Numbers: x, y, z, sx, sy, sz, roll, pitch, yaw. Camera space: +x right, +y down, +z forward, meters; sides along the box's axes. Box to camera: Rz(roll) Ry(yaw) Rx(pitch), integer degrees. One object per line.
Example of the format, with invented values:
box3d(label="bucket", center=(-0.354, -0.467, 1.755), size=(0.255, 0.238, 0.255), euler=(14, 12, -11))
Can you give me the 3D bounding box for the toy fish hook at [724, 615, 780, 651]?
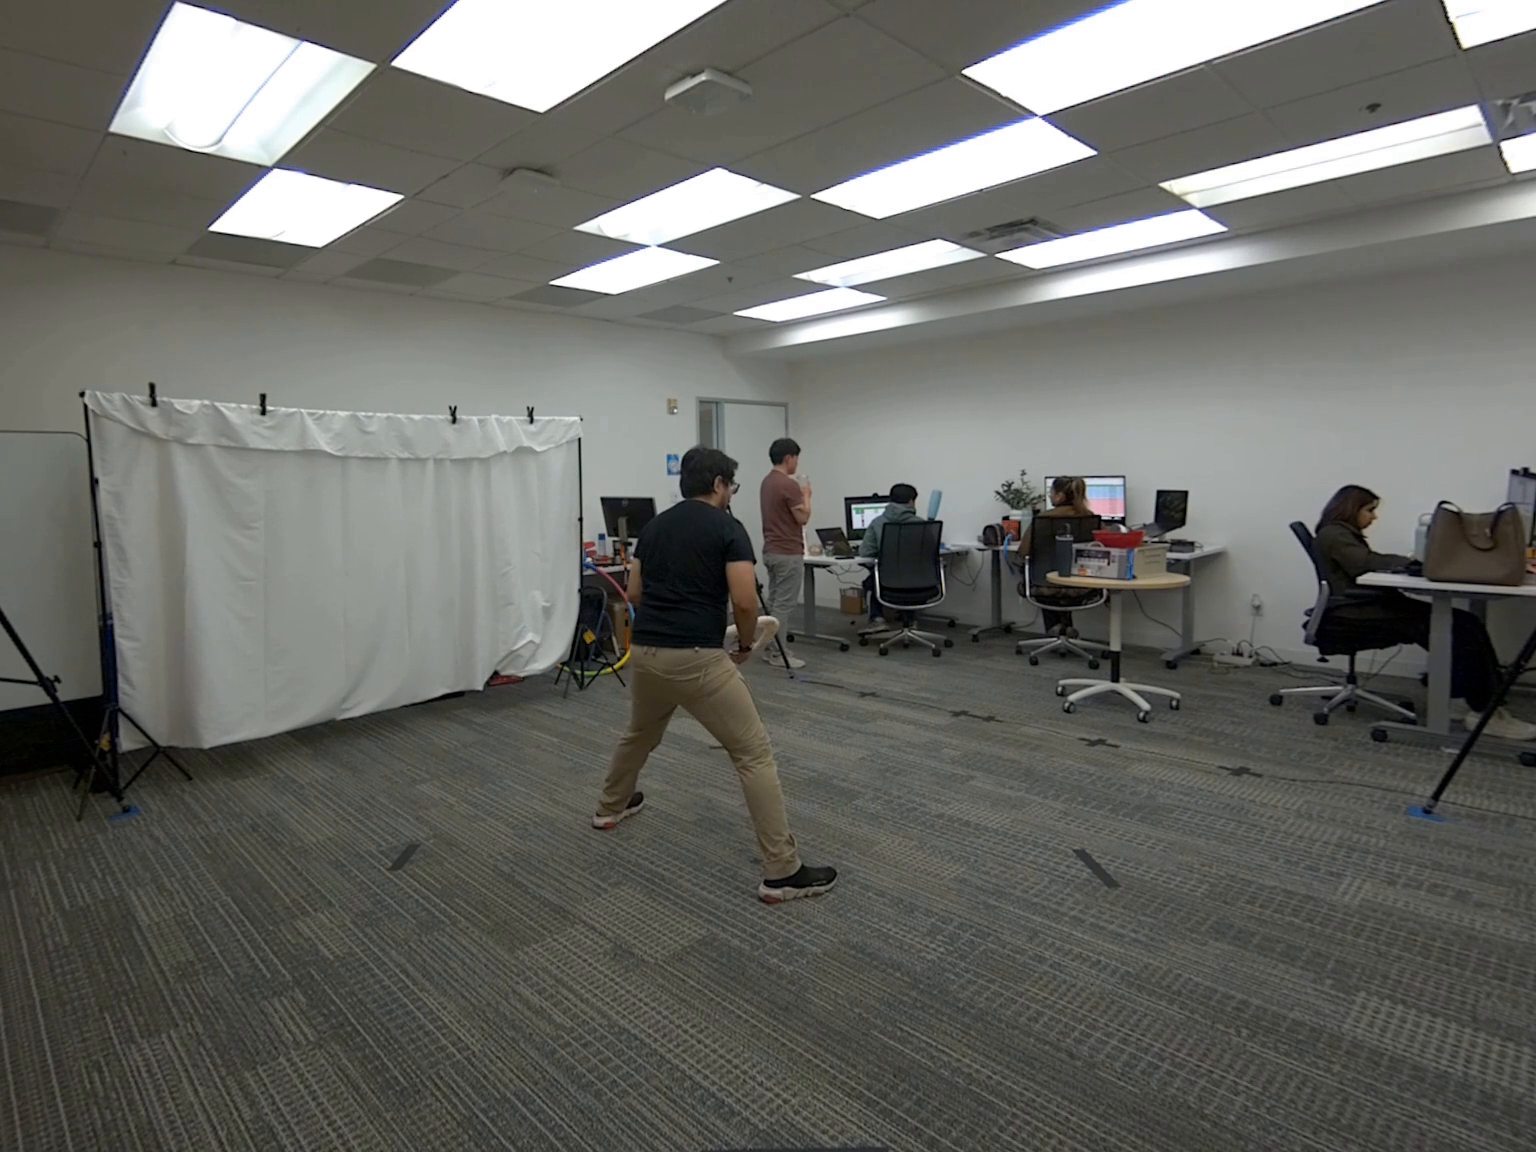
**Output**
box3d(label="toy fish hook", center=(-0.161, 0.272, 3.524), size=(0.493, 0.222, 0.050), euler=(-4, 40, -38))
